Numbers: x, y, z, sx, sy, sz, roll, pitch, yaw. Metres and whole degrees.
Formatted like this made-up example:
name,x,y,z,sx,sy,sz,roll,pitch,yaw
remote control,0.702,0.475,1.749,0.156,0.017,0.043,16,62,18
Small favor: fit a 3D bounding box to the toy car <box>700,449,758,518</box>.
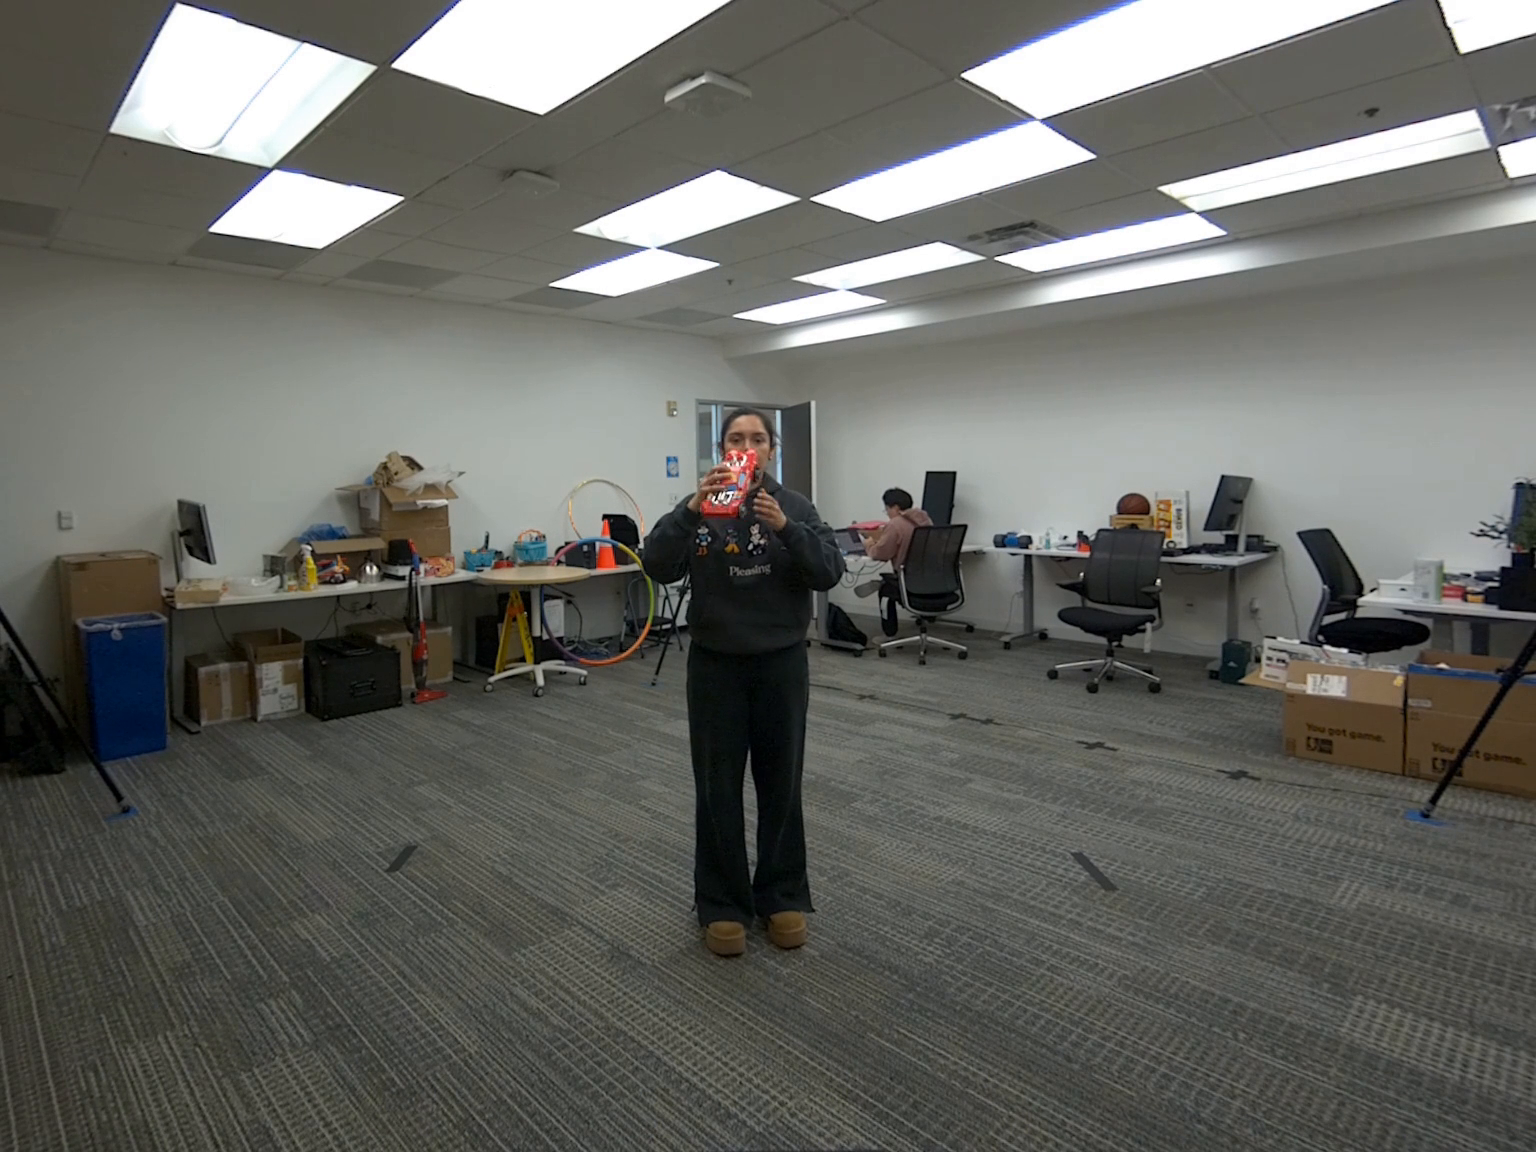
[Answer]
name,x,y,z,sx,sy,sz,roll,pitch,yaw
toy car,-0.097,-0.250,2.323,0.133,0.258,0.080,1,-34,22
